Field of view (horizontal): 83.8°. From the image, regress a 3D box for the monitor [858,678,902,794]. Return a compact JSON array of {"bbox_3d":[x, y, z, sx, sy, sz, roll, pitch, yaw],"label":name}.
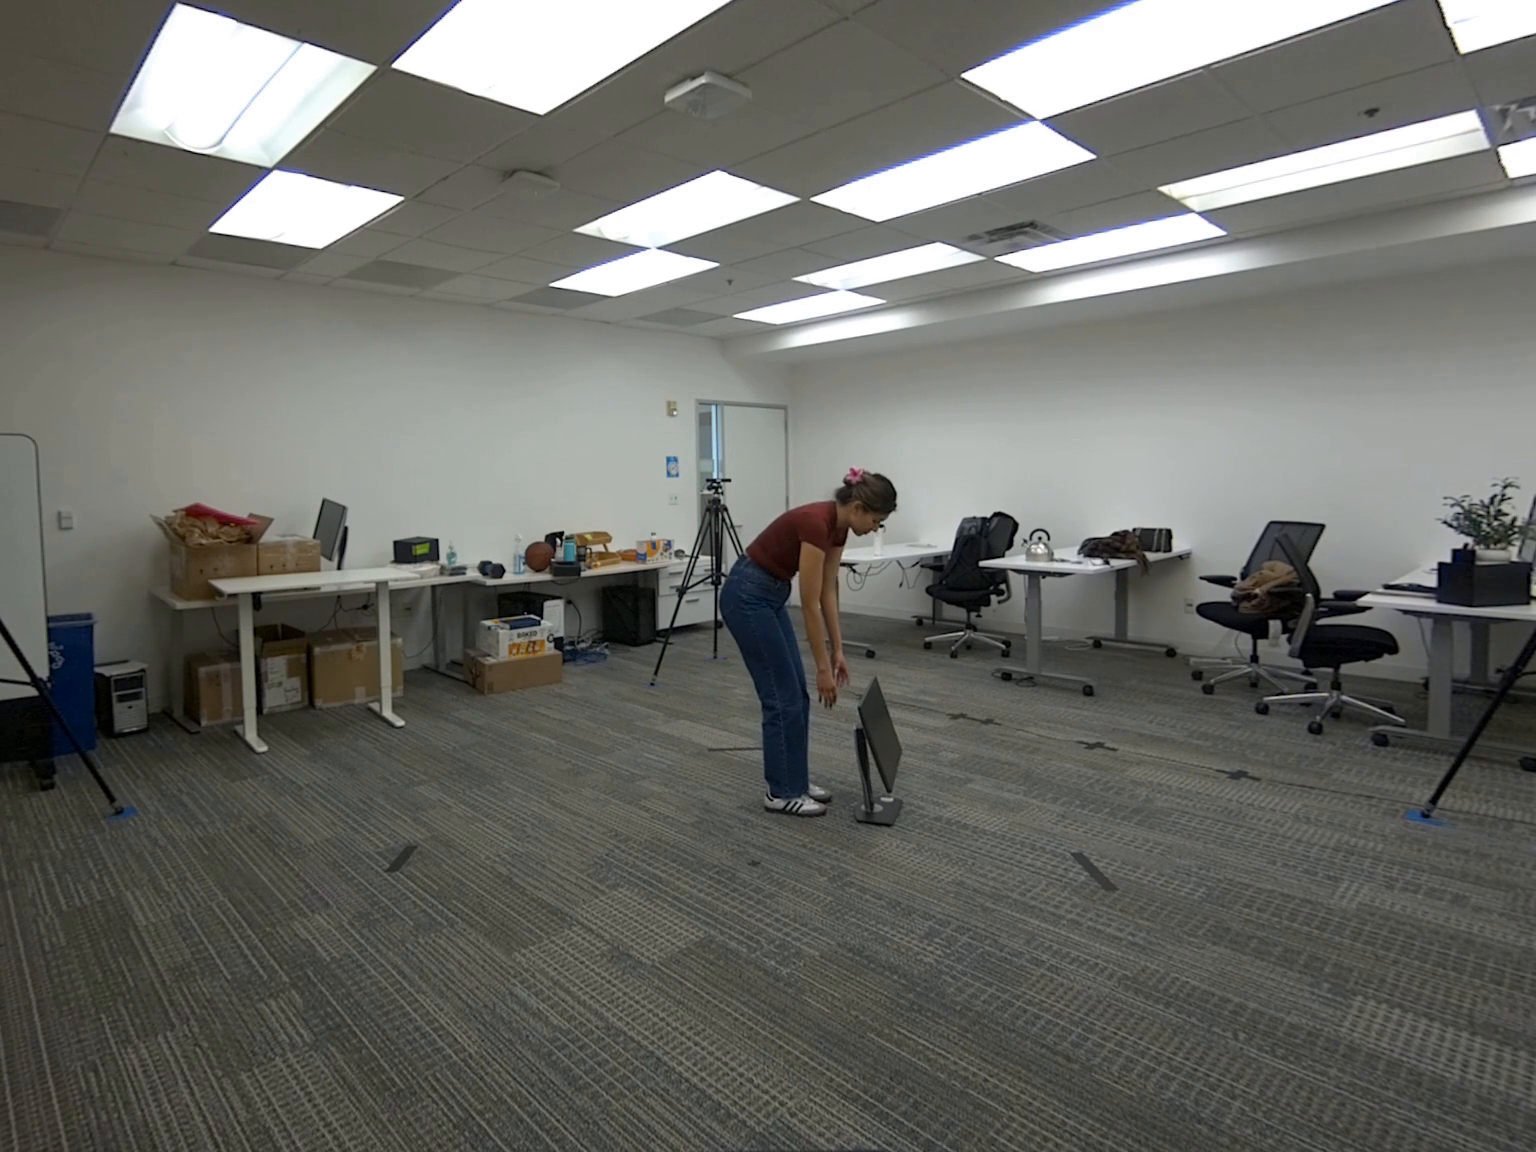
[{"bbox_3d":[0.441,0.731,3.545,0.189,0.521,0.534,-3,4,13],"label":"monitor"}]
